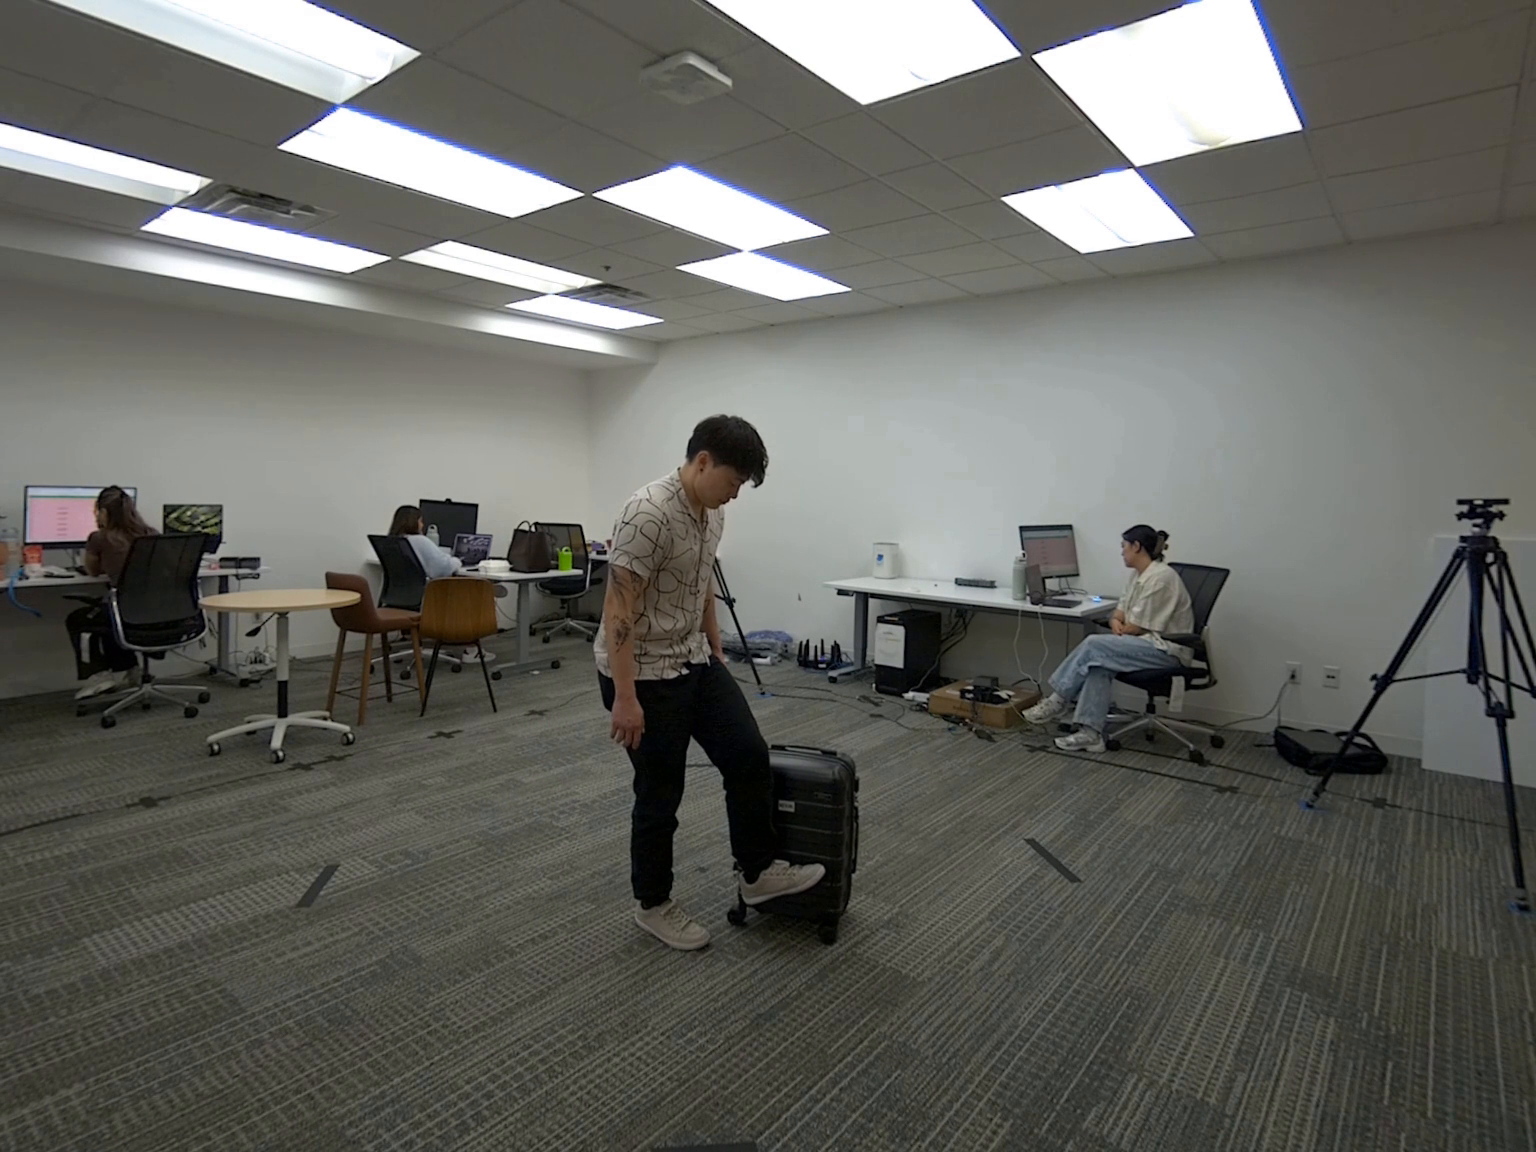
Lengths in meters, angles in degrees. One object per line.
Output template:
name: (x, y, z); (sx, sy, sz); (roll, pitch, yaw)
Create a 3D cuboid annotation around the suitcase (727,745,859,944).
suitcase: (0.093, 0.833, 2.762); (0.382, 0.548, 0.244); (4, 3, 16)
